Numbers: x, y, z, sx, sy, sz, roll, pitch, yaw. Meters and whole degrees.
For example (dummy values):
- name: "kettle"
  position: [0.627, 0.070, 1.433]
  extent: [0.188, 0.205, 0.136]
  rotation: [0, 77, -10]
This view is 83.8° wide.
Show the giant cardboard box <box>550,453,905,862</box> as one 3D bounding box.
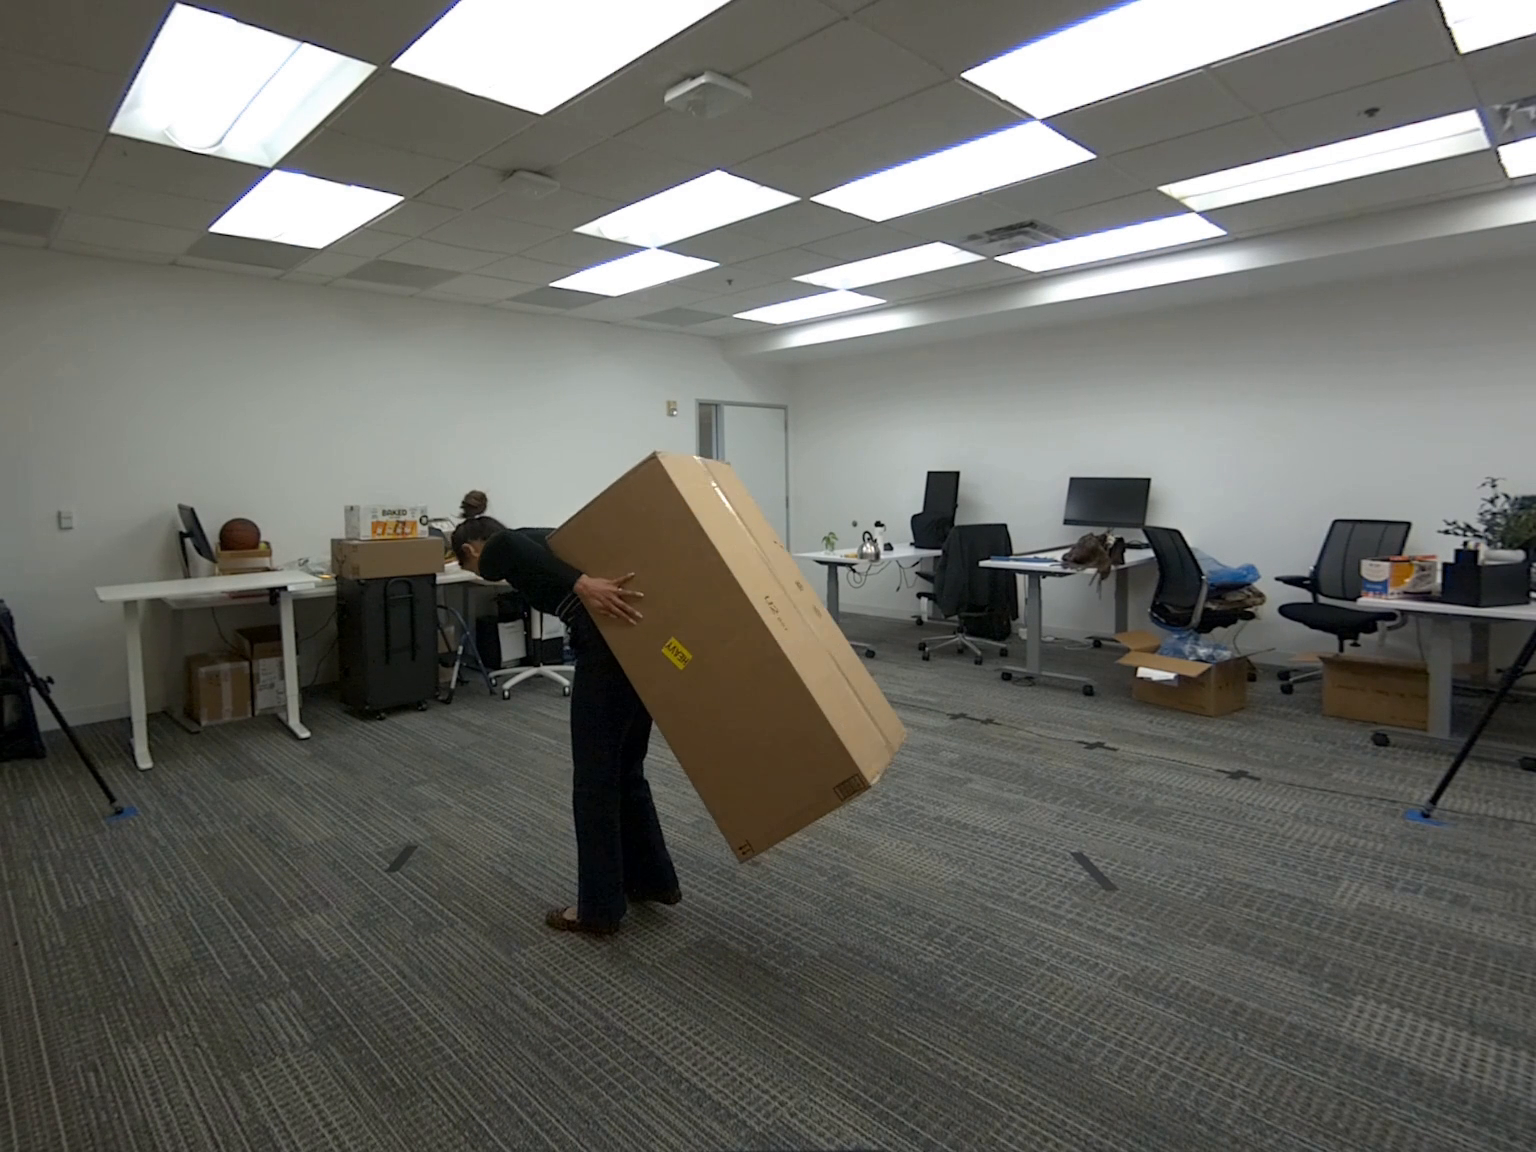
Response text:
- name: "giant cardboard box"
  position: [-0.095, 0.192, 2.506]
  extent: [0.428, 1.039, 0.568]
  rotation: [-36, -10, 17]
